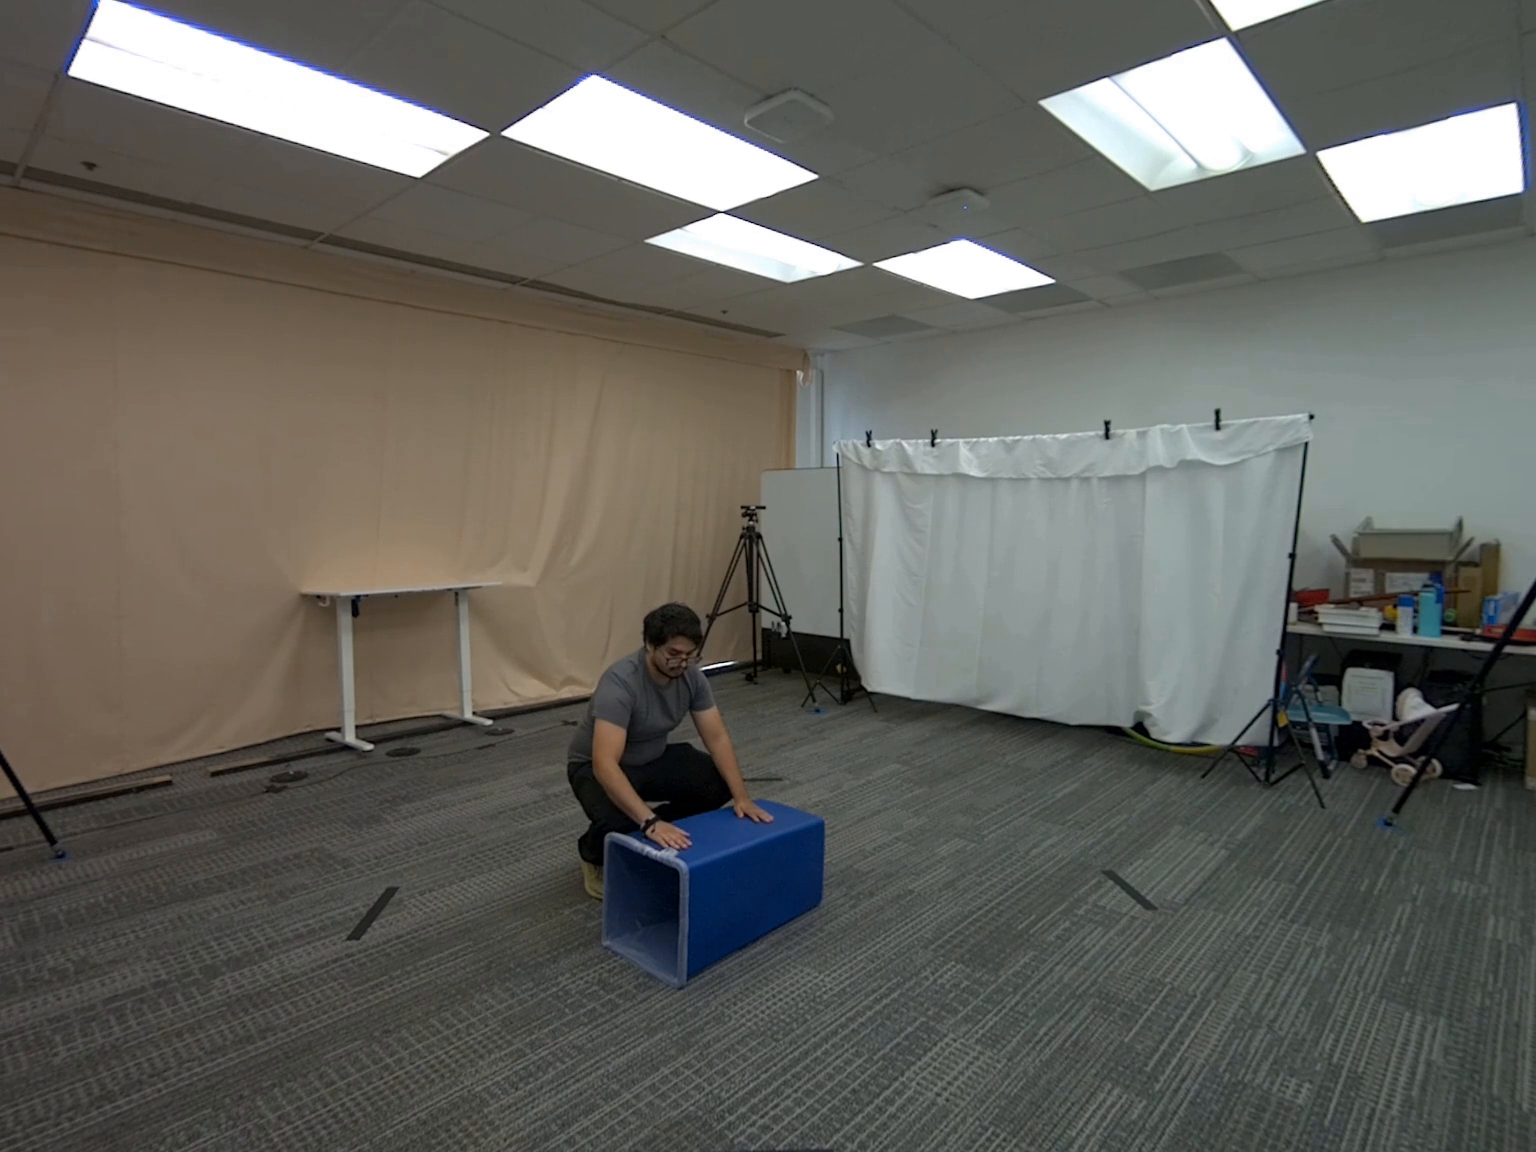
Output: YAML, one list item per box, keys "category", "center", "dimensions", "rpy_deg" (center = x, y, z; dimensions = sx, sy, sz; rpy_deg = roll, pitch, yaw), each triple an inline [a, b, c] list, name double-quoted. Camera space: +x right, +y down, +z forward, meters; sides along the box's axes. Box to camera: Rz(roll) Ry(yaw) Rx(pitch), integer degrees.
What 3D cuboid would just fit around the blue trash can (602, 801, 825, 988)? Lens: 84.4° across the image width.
- category: "blue trash can"
  center: [-0.143, 0.987, 2.784]
  dimensions: [0.386, 0.377, 0.691]
  rpy_deg: [3, 4, 43]
